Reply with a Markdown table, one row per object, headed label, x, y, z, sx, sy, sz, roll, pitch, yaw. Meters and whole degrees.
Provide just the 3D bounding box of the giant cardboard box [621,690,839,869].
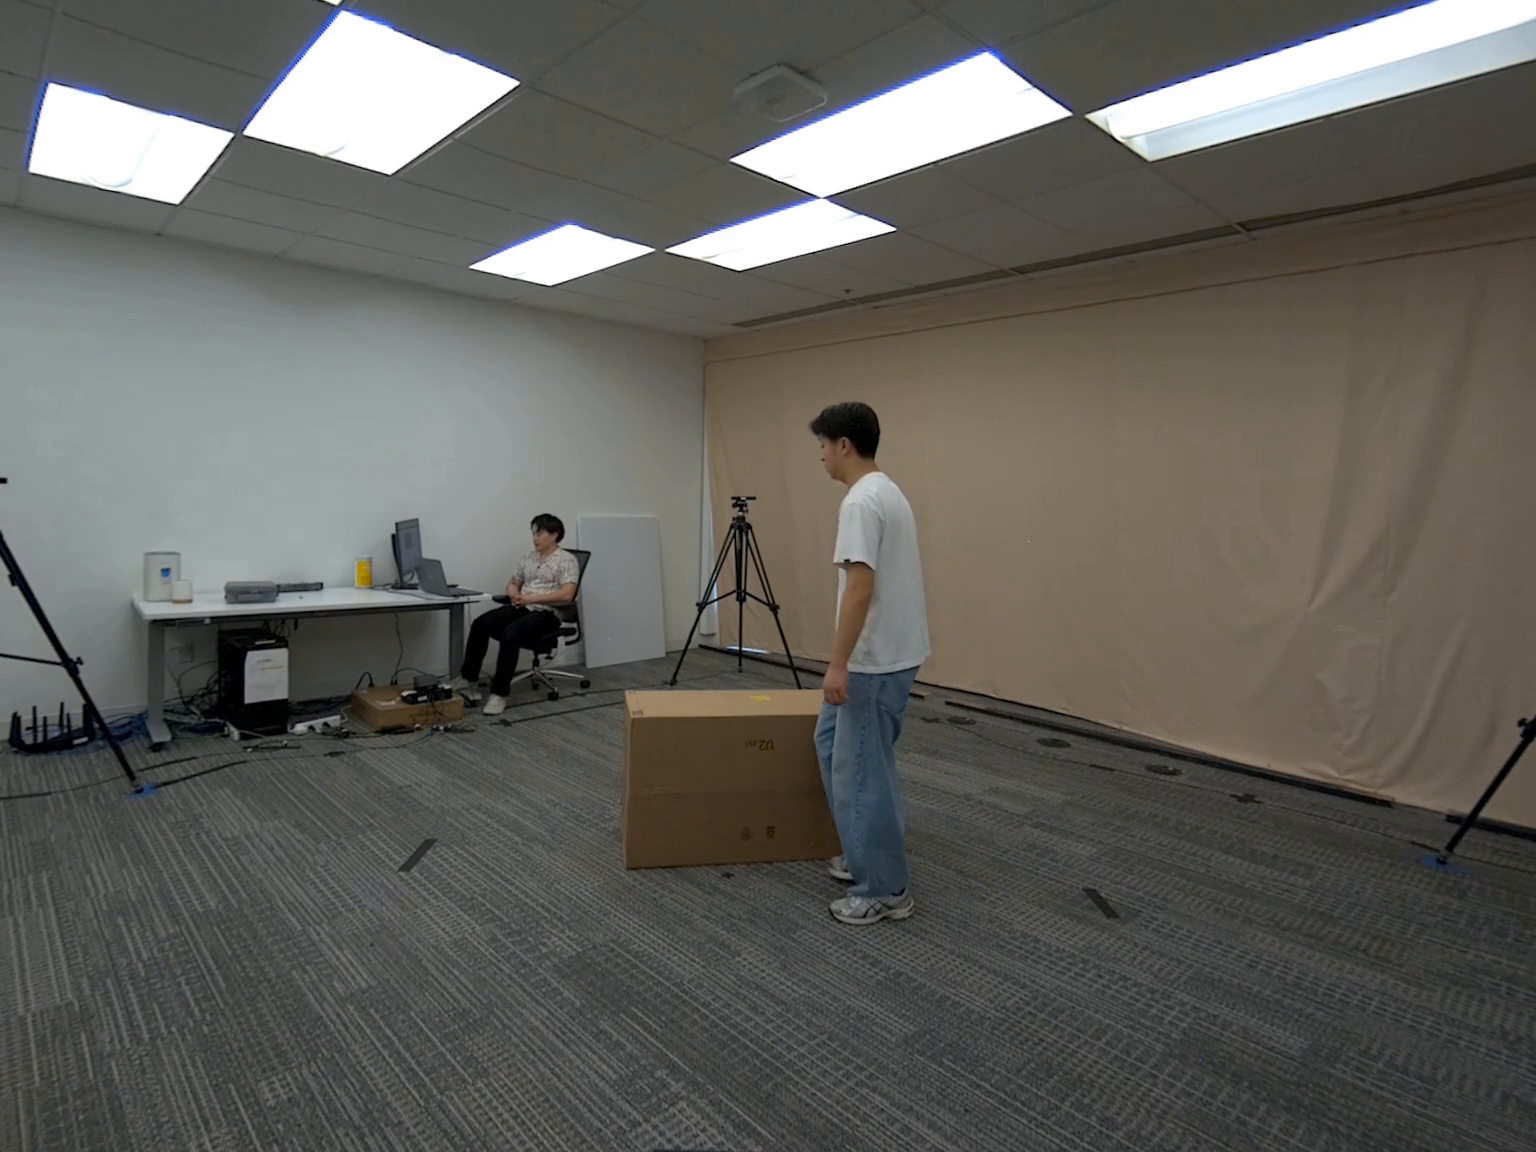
| label | x | y | z | sx | sy | sz | roll | pitch | yaw |
| --- | --- | --- | --- | --- | --- | --- | --- | --- | --- |
| giant cardboard box | -0.073 | 0.790 | 3.411 | 1.017 | 0.576 | 0.431 | 1 | 4 | -11 |
